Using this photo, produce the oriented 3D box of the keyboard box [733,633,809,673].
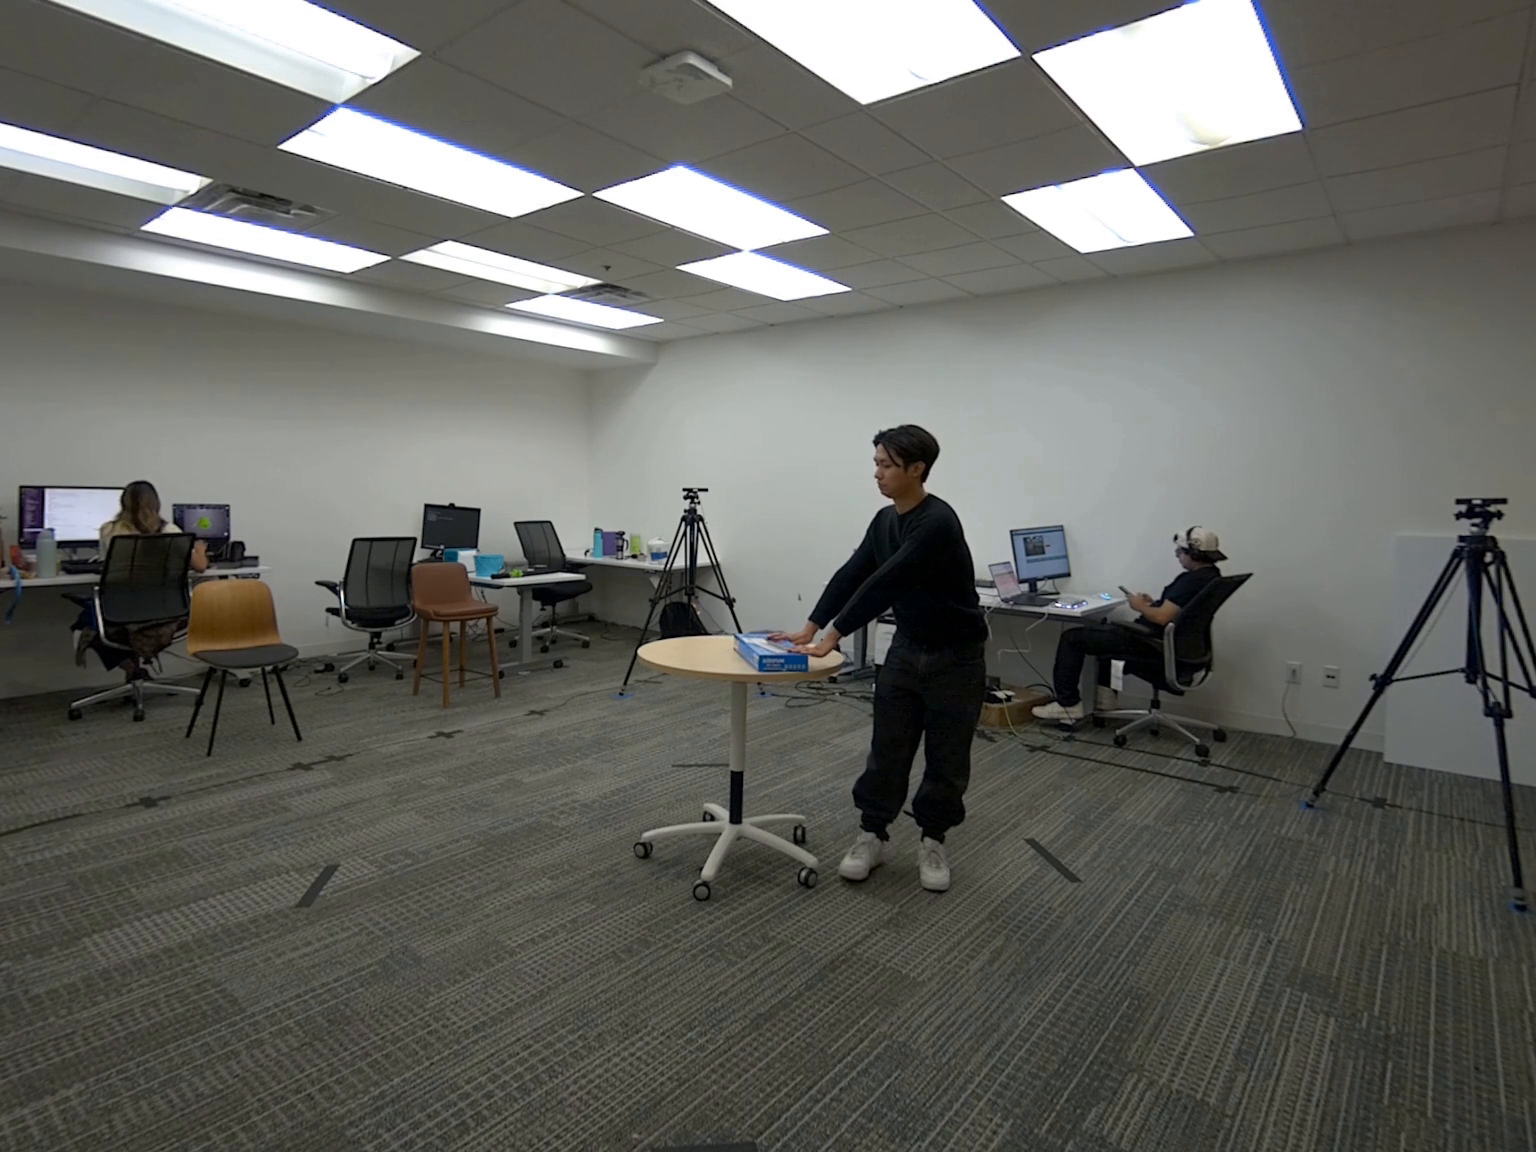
[{"bbox_3d":[-0.006,0.267,3.052,0.173,0.059,0.444,1,5,-14],"label":"keyboard box"}]
